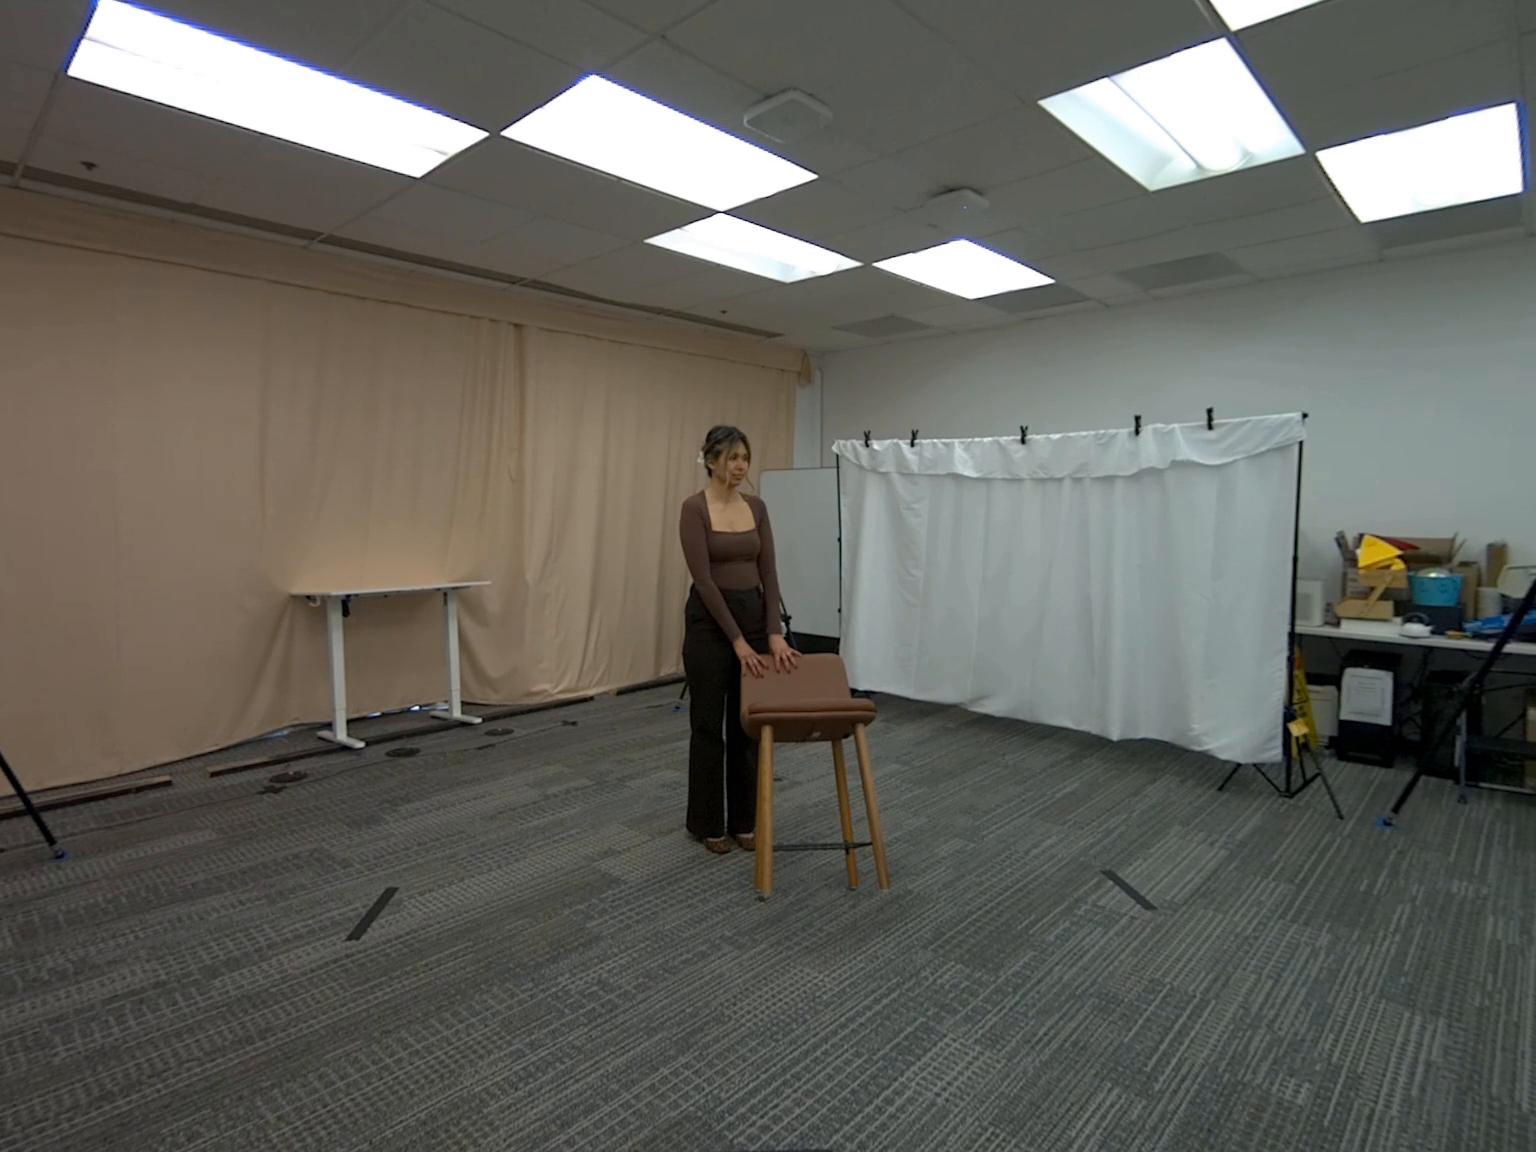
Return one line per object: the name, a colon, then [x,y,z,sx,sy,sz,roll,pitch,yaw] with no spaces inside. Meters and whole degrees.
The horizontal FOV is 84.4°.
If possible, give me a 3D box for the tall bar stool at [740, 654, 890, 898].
tall bar stool: [0.148,0.658,3.016,0.455,0.902,0.463,-1,-22,-4]
